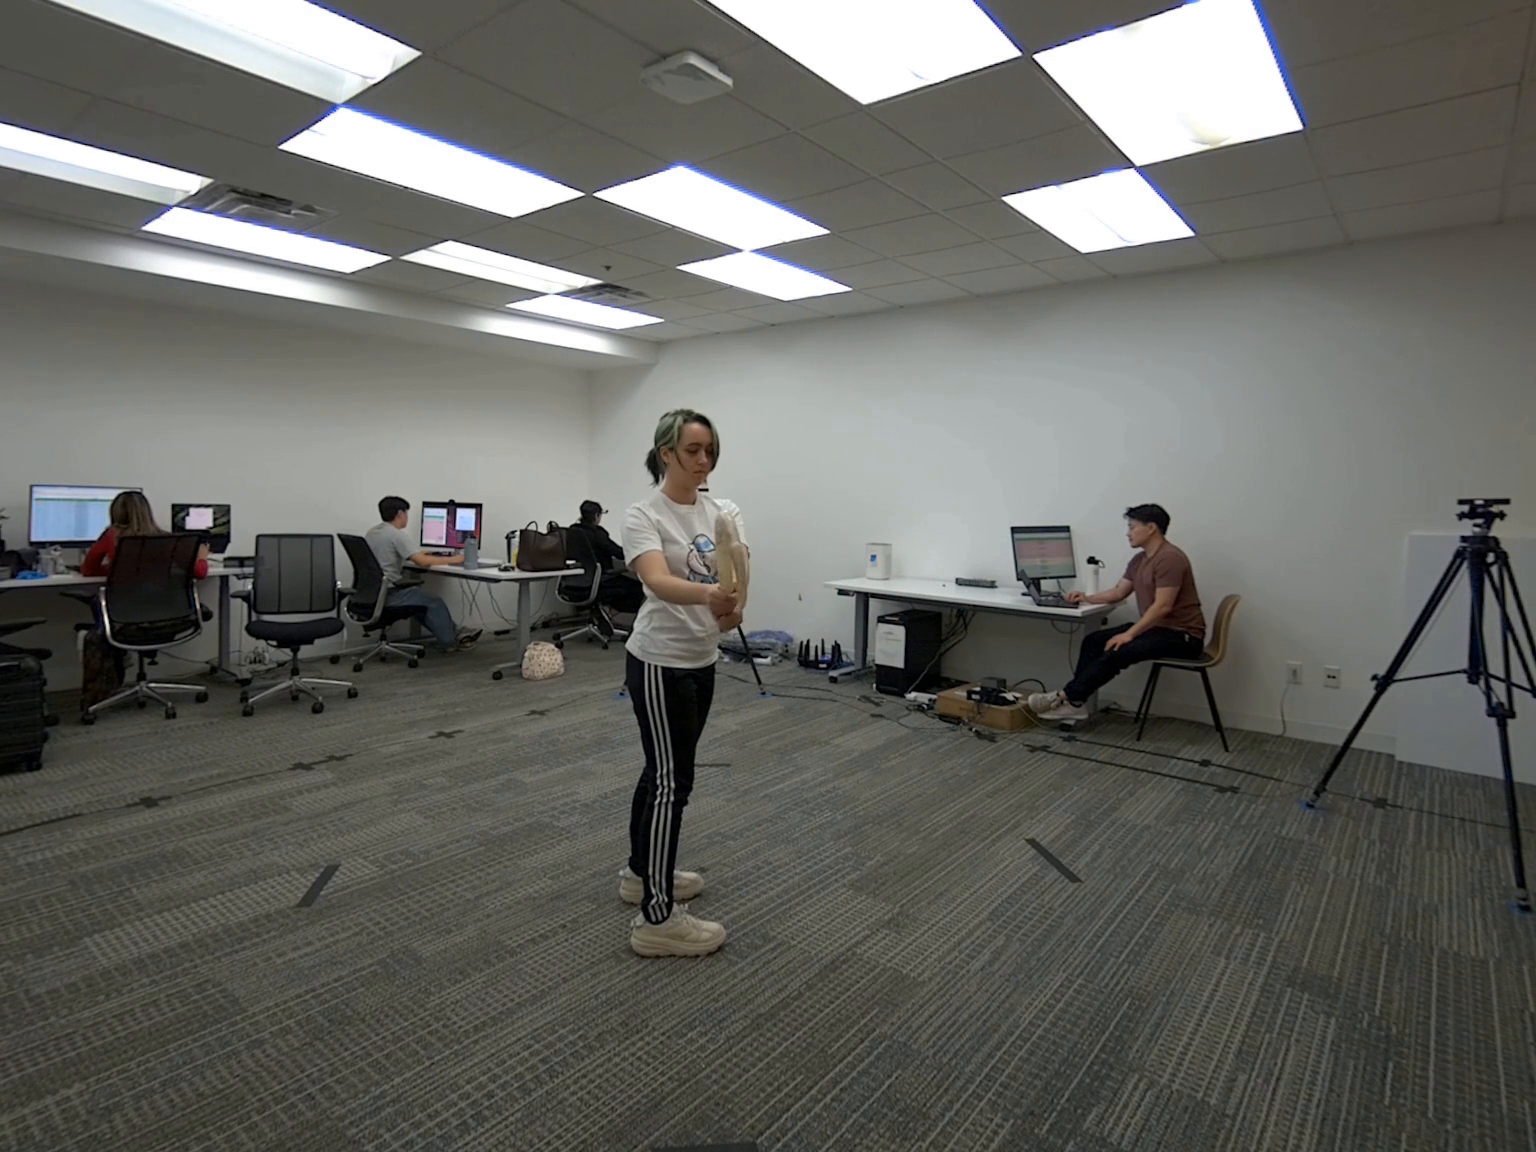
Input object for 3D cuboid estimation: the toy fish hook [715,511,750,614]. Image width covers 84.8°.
[{"bbox_3d":[-0.103,0.052,2.137,0.048,0.232,0.495,-3,-37,-12],"label":"toy fish hook"}]
